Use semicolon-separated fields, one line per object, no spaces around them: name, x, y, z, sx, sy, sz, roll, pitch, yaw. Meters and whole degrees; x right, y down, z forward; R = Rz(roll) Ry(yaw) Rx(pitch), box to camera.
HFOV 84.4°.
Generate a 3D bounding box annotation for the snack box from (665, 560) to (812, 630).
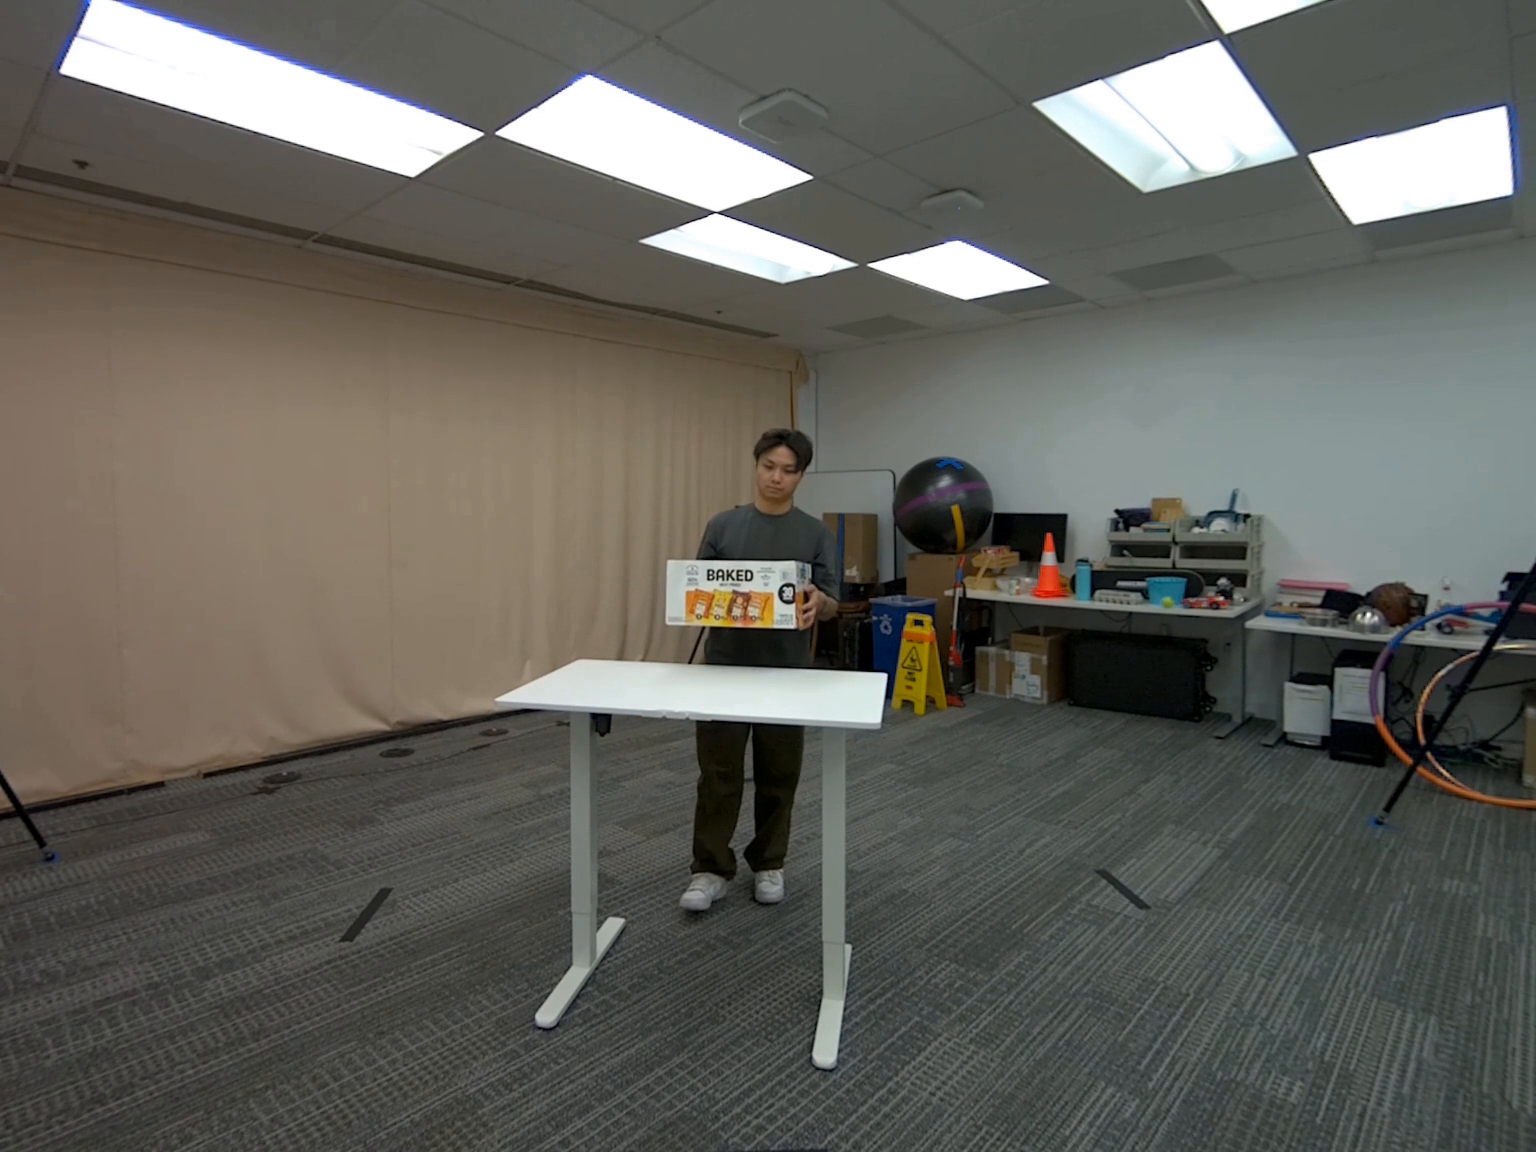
snack box;-0.083;0.056;2.723;0.411;0.206;0.335;1;-2;13
